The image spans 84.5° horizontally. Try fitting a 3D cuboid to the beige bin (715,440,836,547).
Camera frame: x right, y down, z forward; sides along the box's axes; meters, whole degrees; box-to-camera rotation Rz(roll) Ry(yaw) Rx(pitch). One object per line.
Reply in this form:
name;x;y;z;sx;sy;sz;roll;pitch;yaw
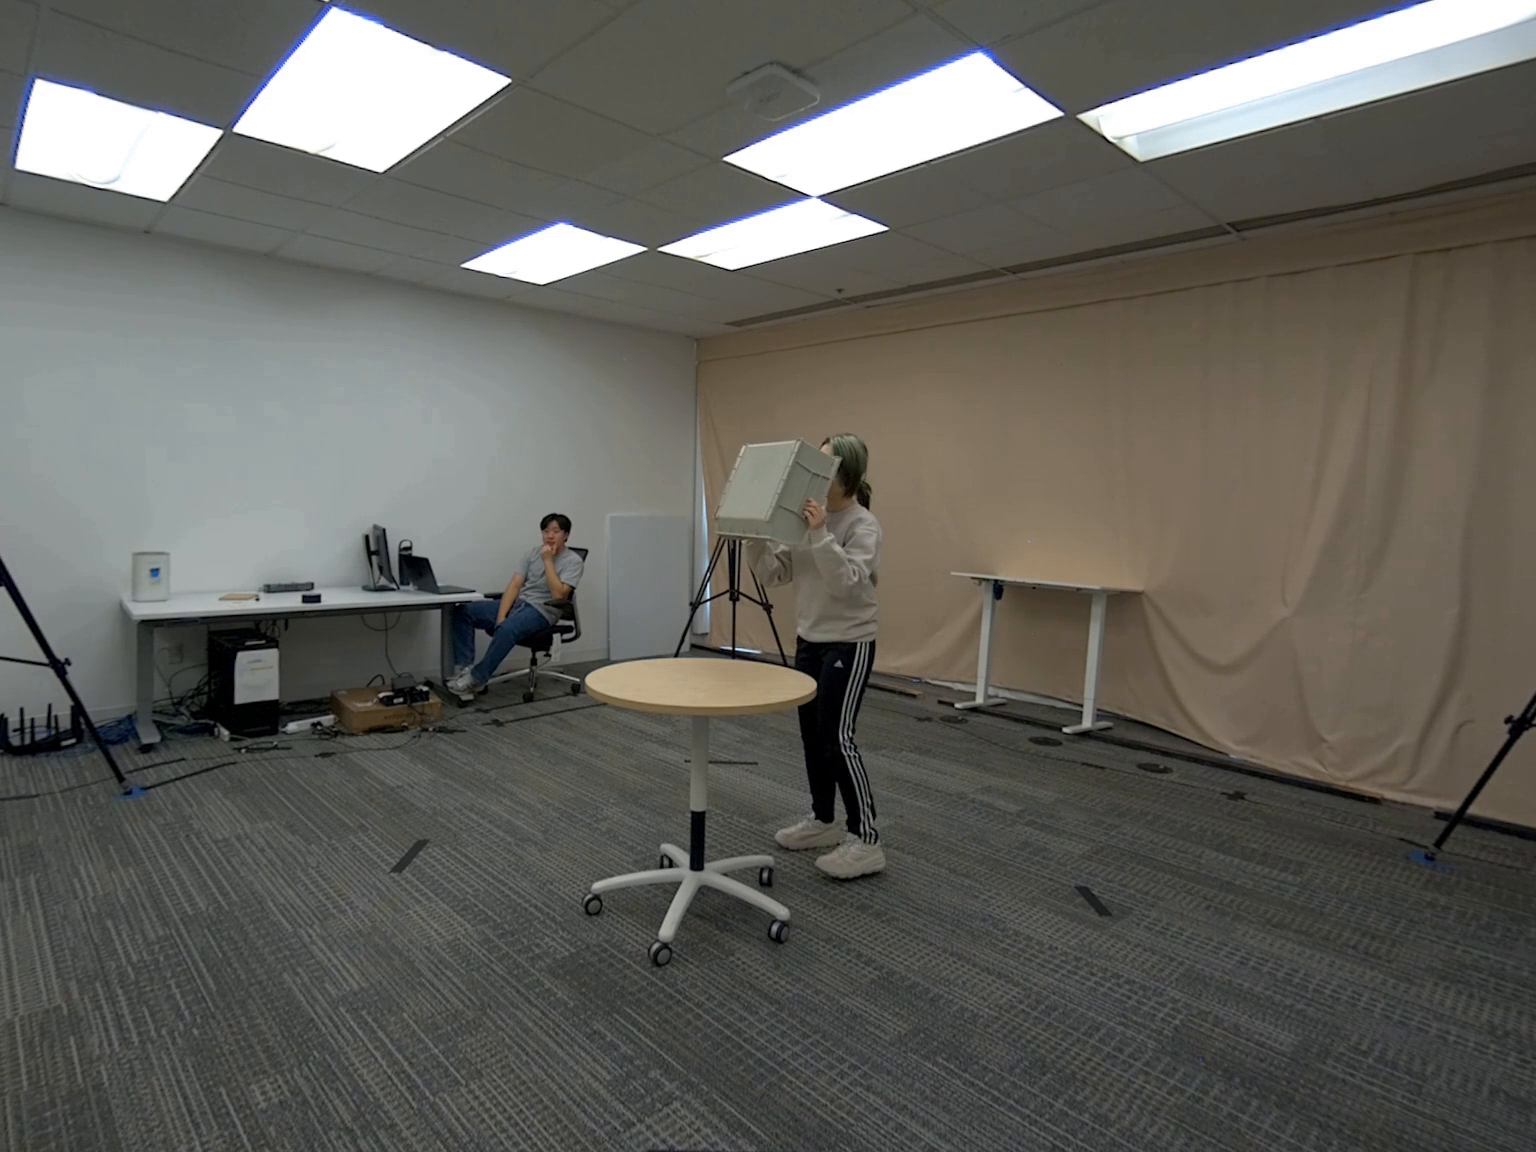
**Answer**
beige bin;0.006;-0.296;3.087;0.184;0.378;0.432;25;-9;-30
